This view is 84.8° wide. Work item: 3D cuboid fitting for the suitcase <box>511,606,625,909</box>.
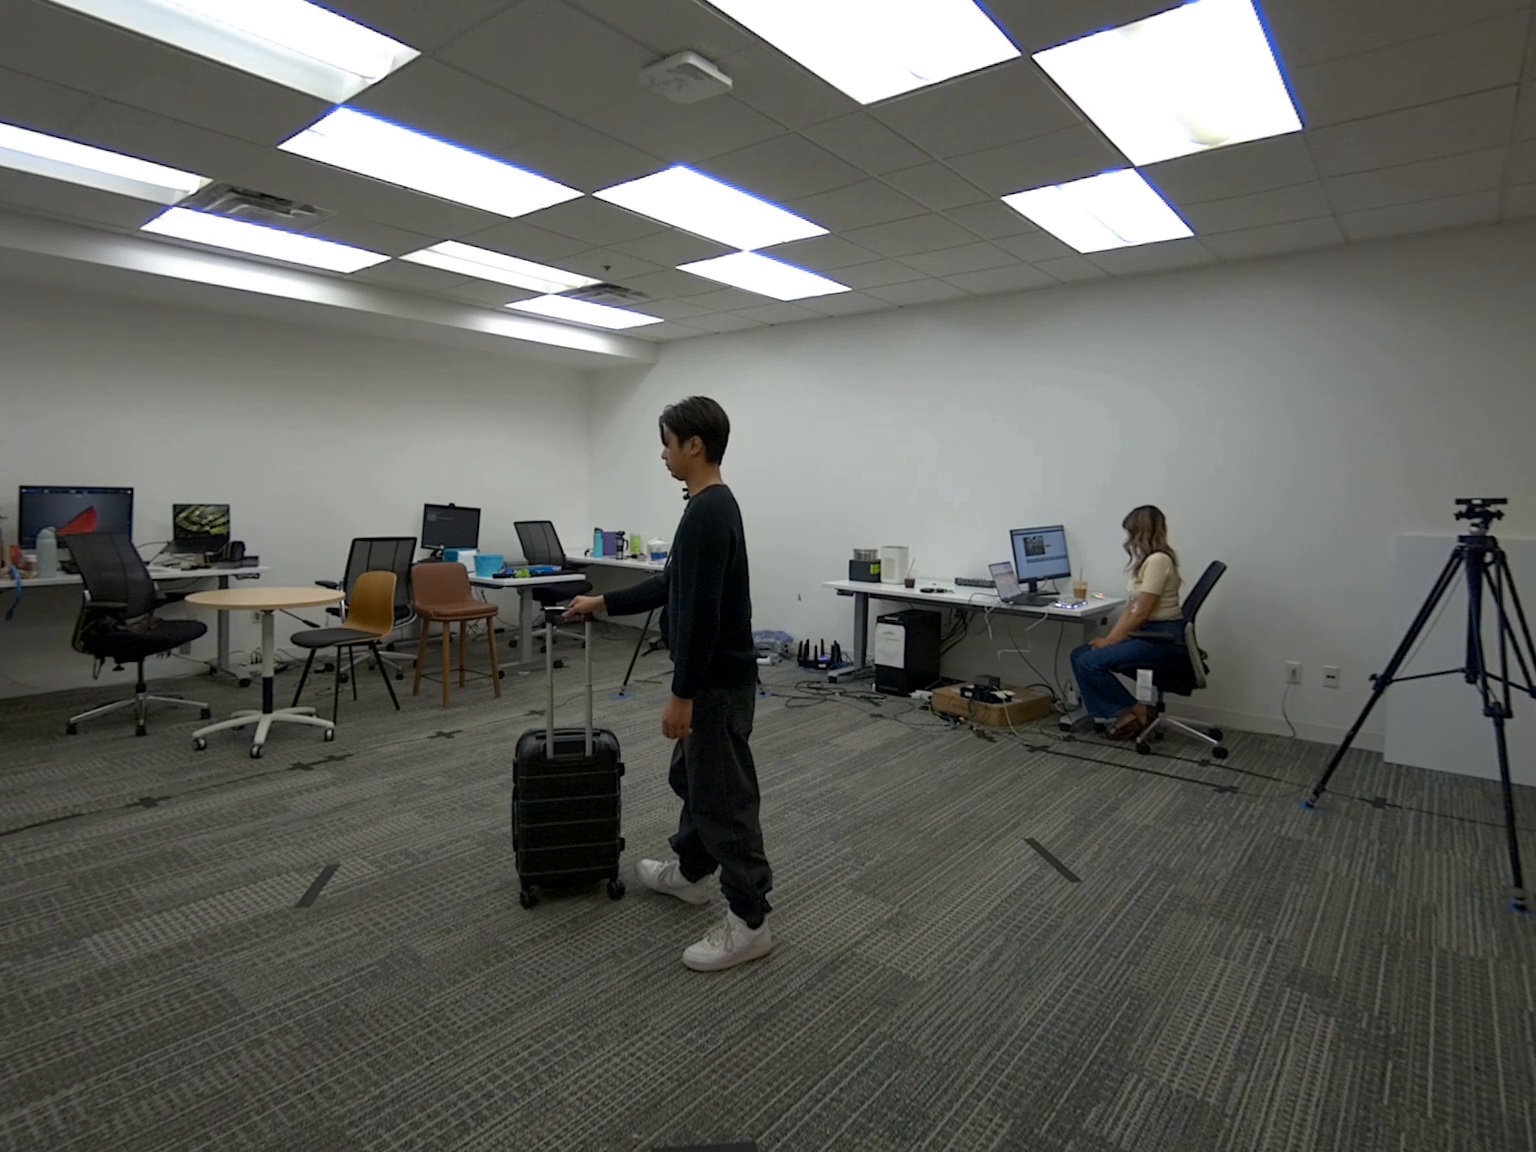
[{"bbox_3d":[-0.716,0.600,2.965,0.379,0.978,0.260,-1,0,-13],"label":"suitcase"}]
